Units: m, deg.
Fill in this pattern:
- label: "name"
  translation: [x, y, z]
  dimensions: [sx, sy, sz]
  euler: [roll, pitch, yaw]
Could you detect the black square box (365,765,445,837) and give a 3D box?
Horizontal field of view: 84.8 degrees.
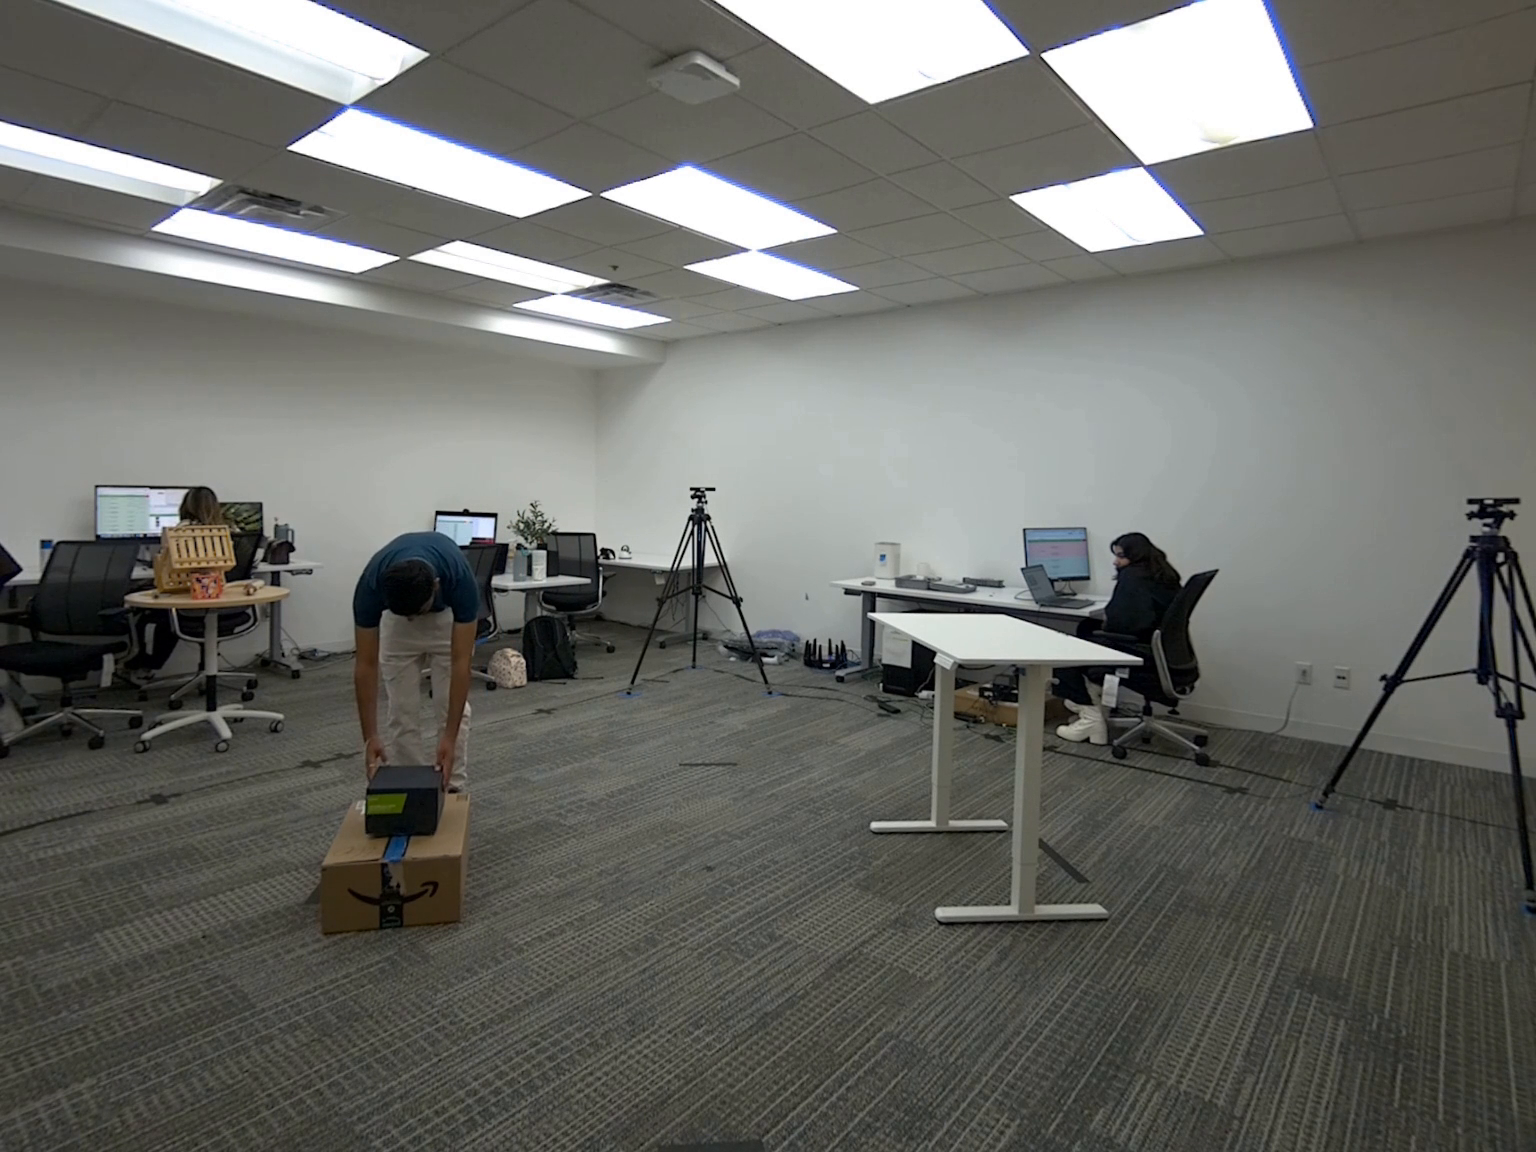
- label: "black square box"
  translation: [-1.249, 0.750, 2.916]
  dimensions: [0.225, 0.155, 0.221]
  euler: [2, 6, -13]
